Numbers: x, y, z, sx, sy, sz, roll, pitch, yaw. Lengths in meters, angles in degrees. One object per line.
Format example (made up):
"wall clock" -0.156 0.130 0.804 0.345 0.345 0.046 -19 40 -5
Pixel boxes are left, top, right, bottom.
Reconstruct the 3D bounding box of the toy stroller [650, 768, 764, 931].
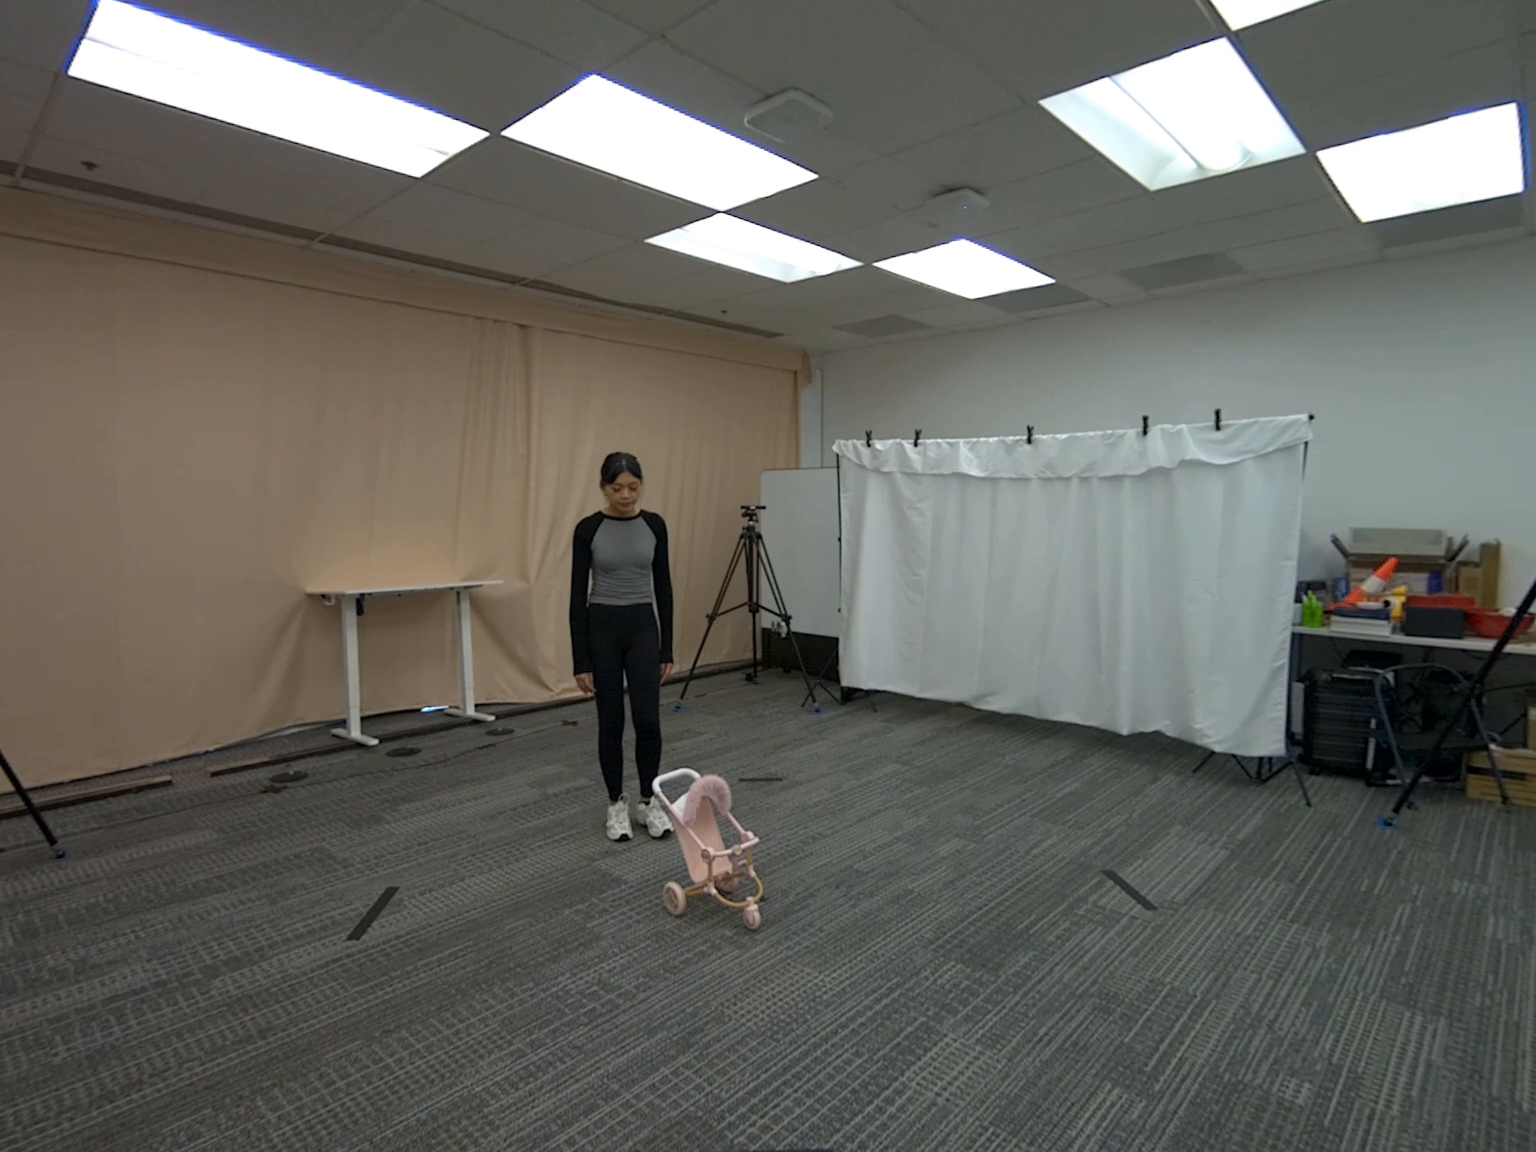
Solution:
"toy stroller" -0.189 0.929 2.899 0.273 0.539 0.349 -3 -13 -41
